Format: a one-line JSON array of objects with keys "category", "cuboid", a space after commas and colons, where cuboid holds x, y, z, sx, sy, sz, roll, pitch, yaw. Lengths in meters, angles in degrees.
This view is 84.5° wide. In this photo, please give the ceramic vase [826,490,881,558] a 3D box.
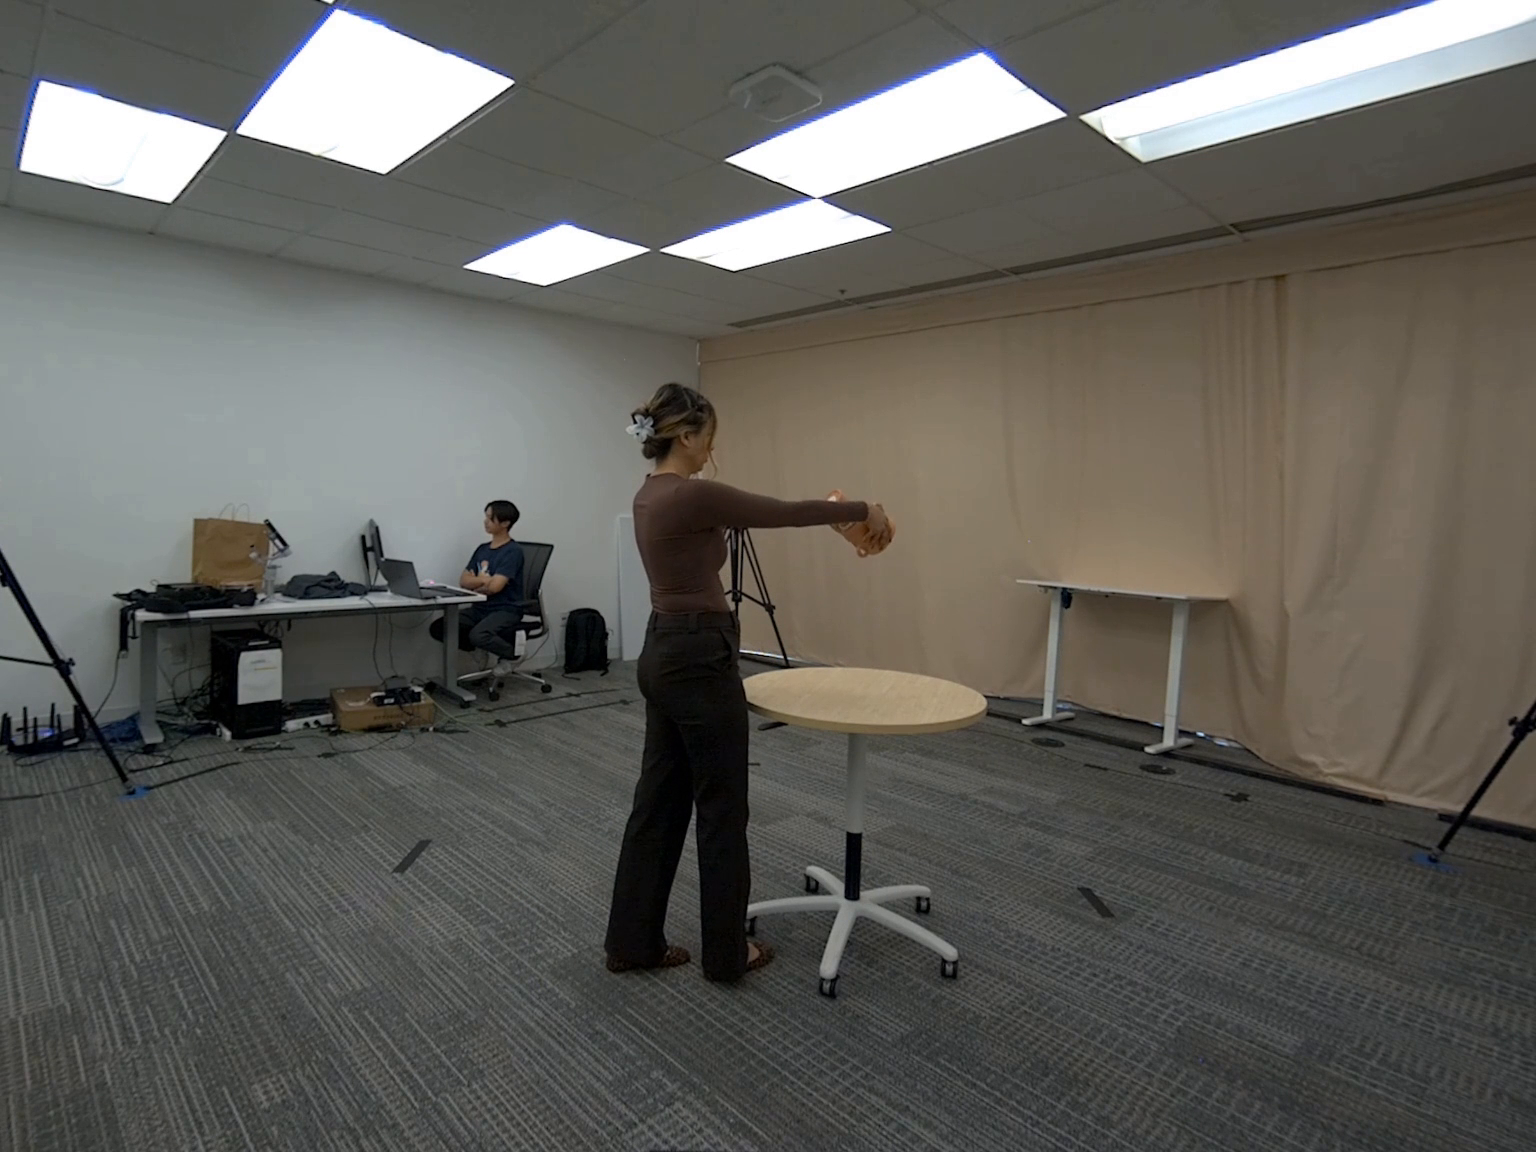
[{"category": "ceramic vase", "cuboid": [0.278, -0.171, 2.631, 0.215, 0.134, 0.162, 31, 26, -23]}]
